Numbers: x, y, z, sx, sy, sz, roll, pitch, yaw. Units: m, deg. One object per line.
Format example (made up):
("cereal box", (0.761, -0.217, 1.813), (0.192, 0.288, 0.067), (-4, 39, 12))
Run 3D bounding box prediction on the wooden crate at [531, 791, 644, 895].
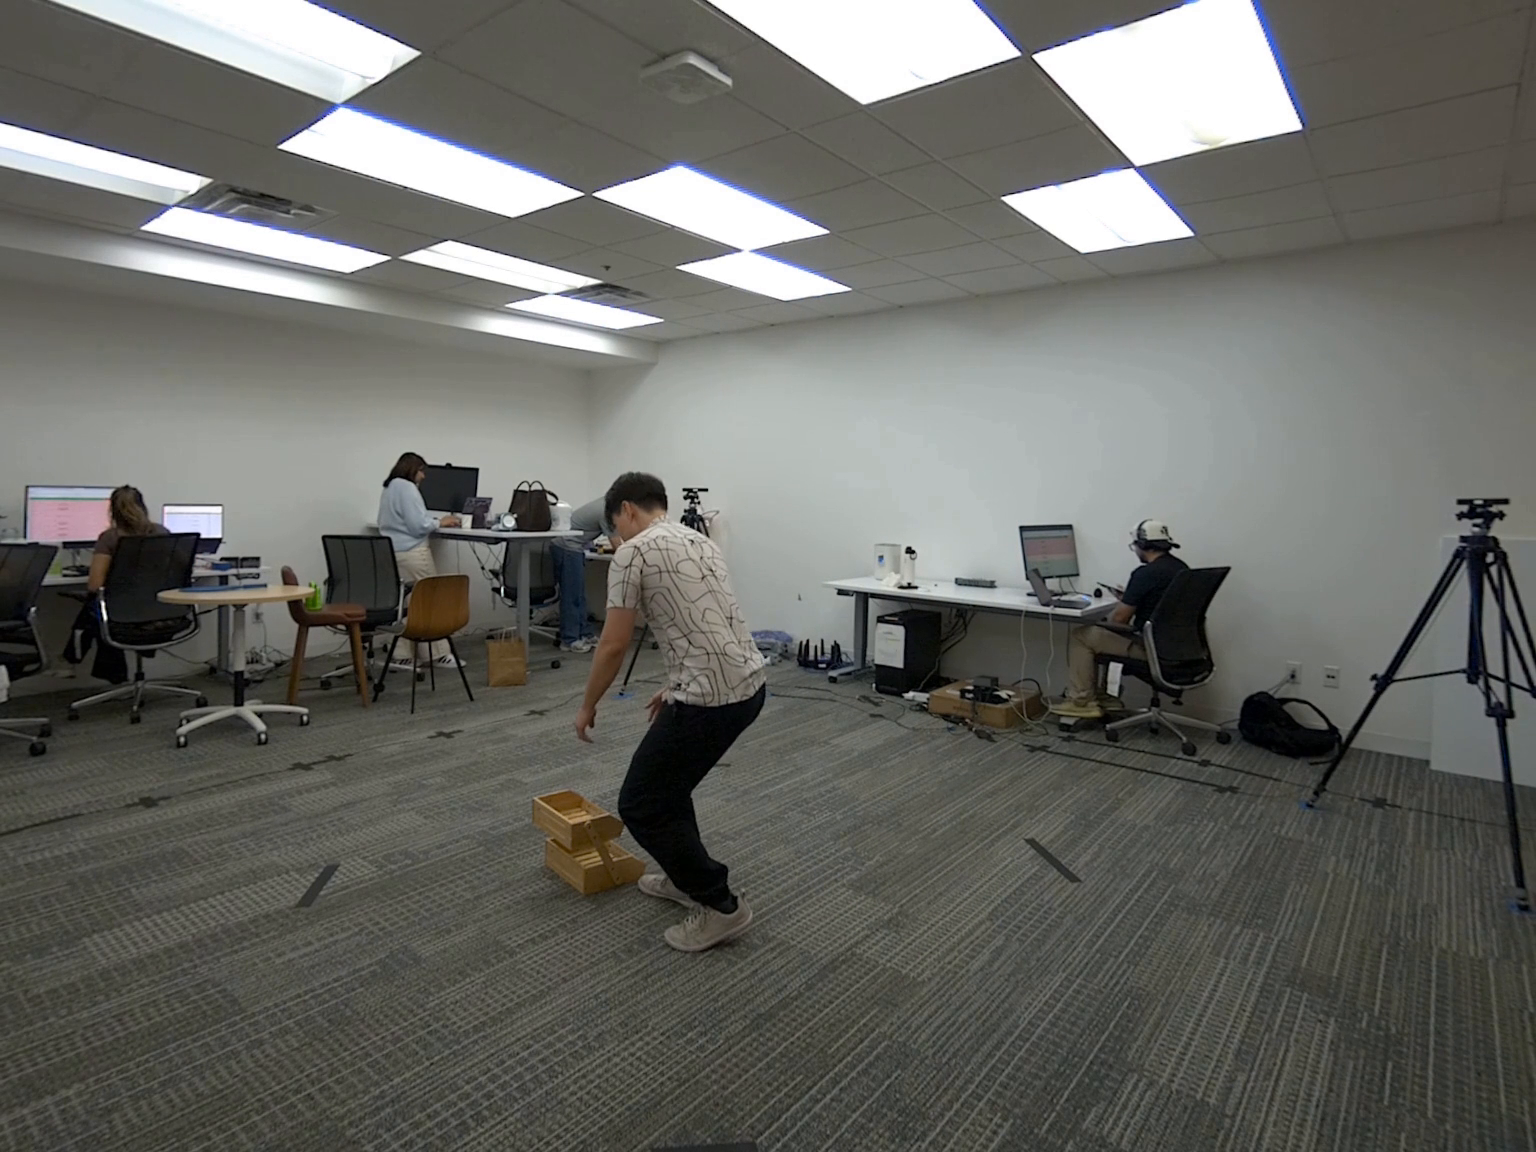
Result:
("wooden crate", (-0.656, 0.930, 3.058), (0.293, 0.272, 0.335), (-3, 6, -39))
